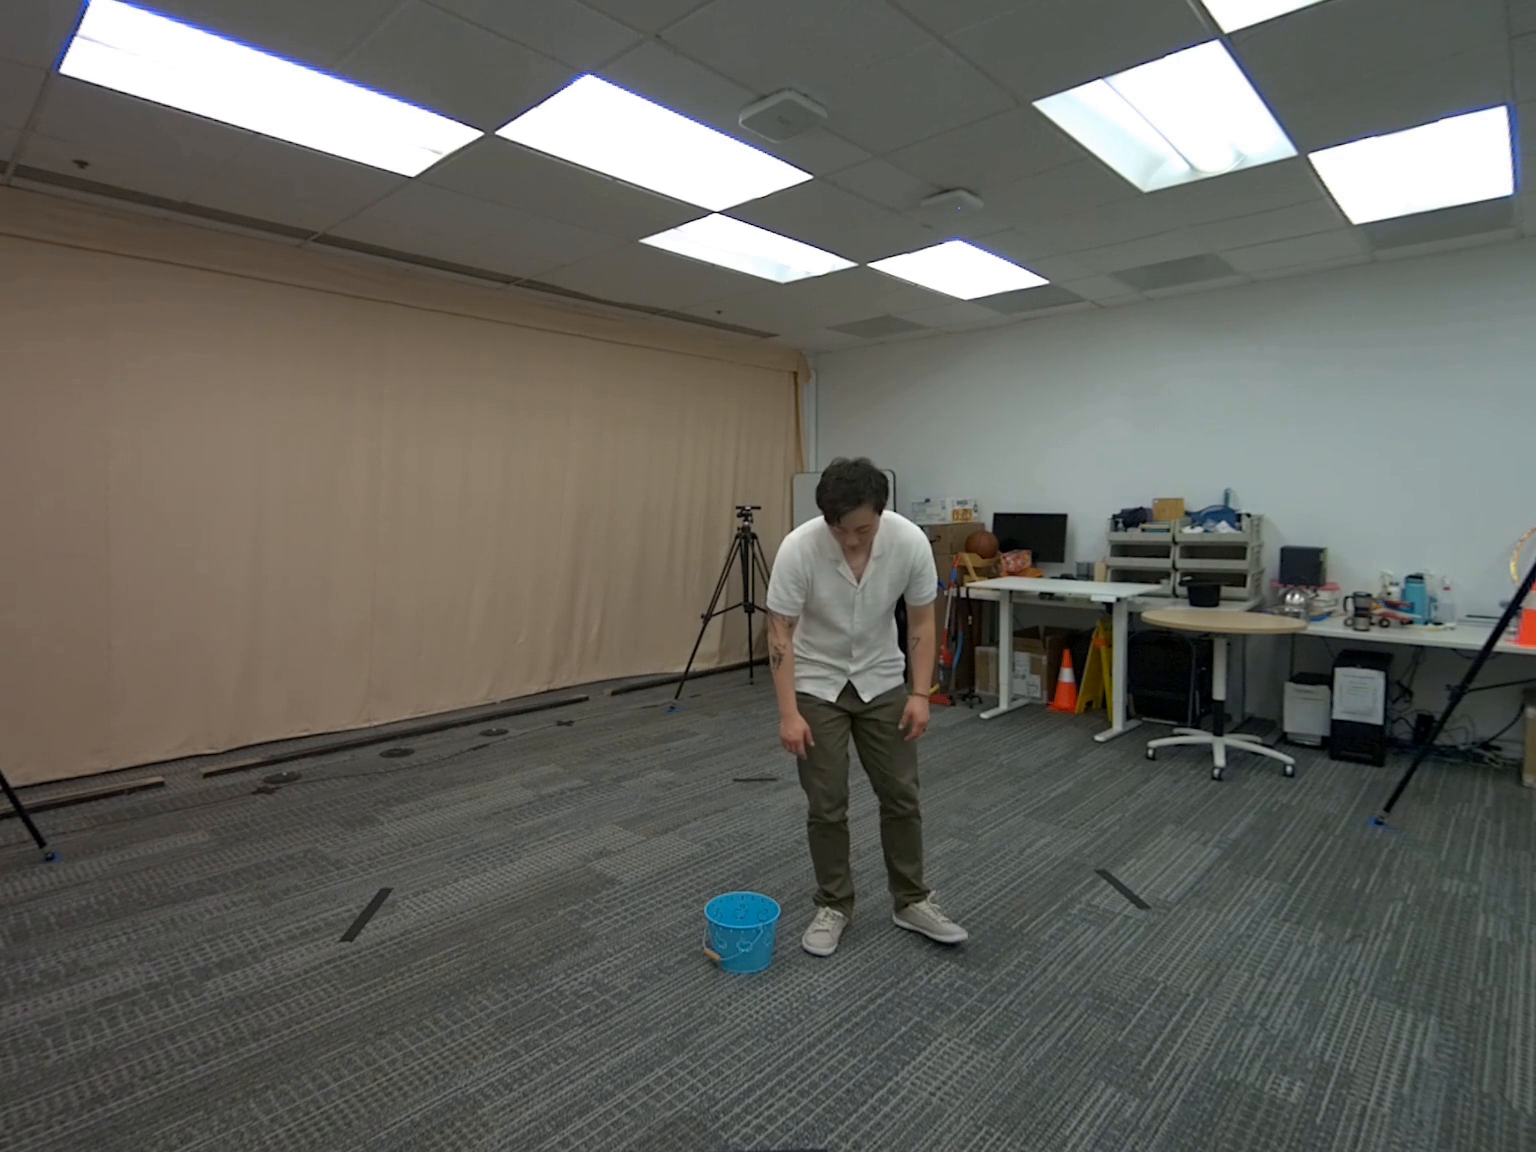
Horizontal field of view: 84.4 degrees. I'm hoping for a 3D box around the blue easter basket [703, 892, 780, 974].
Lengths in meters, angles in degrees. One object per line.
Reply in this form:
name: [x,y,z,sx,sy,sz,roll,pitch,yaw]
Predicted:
blue easter basket: [-0.080,1.101,2.593,0.243,0.155,0.244,0,3,-2]
